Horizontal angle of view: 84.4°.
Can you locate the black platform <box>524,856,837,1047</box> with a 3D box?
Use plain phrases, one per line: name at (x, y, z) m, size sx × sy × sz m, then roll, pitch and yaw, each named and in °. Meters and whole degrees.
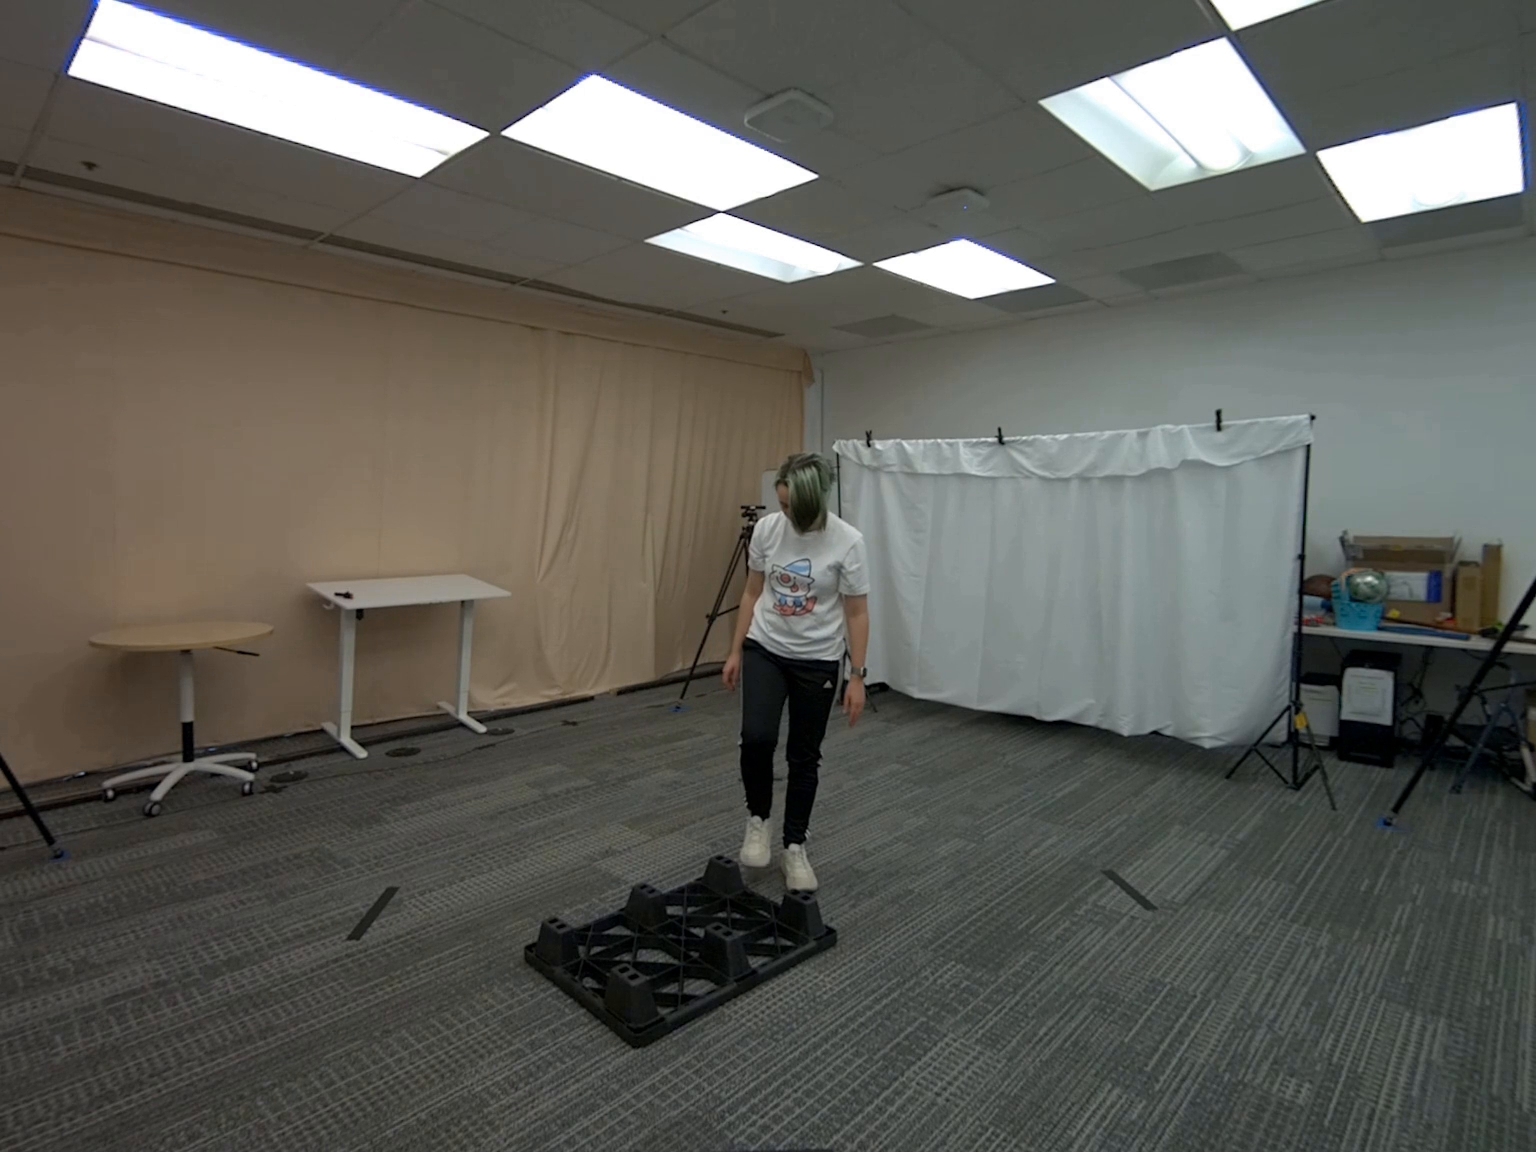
black platform at (-0.264, 1.108, 2.641) m, size 0.781 × 0.143 × 0.625 m, roll -4°, pitch 7°, yaw -44°
